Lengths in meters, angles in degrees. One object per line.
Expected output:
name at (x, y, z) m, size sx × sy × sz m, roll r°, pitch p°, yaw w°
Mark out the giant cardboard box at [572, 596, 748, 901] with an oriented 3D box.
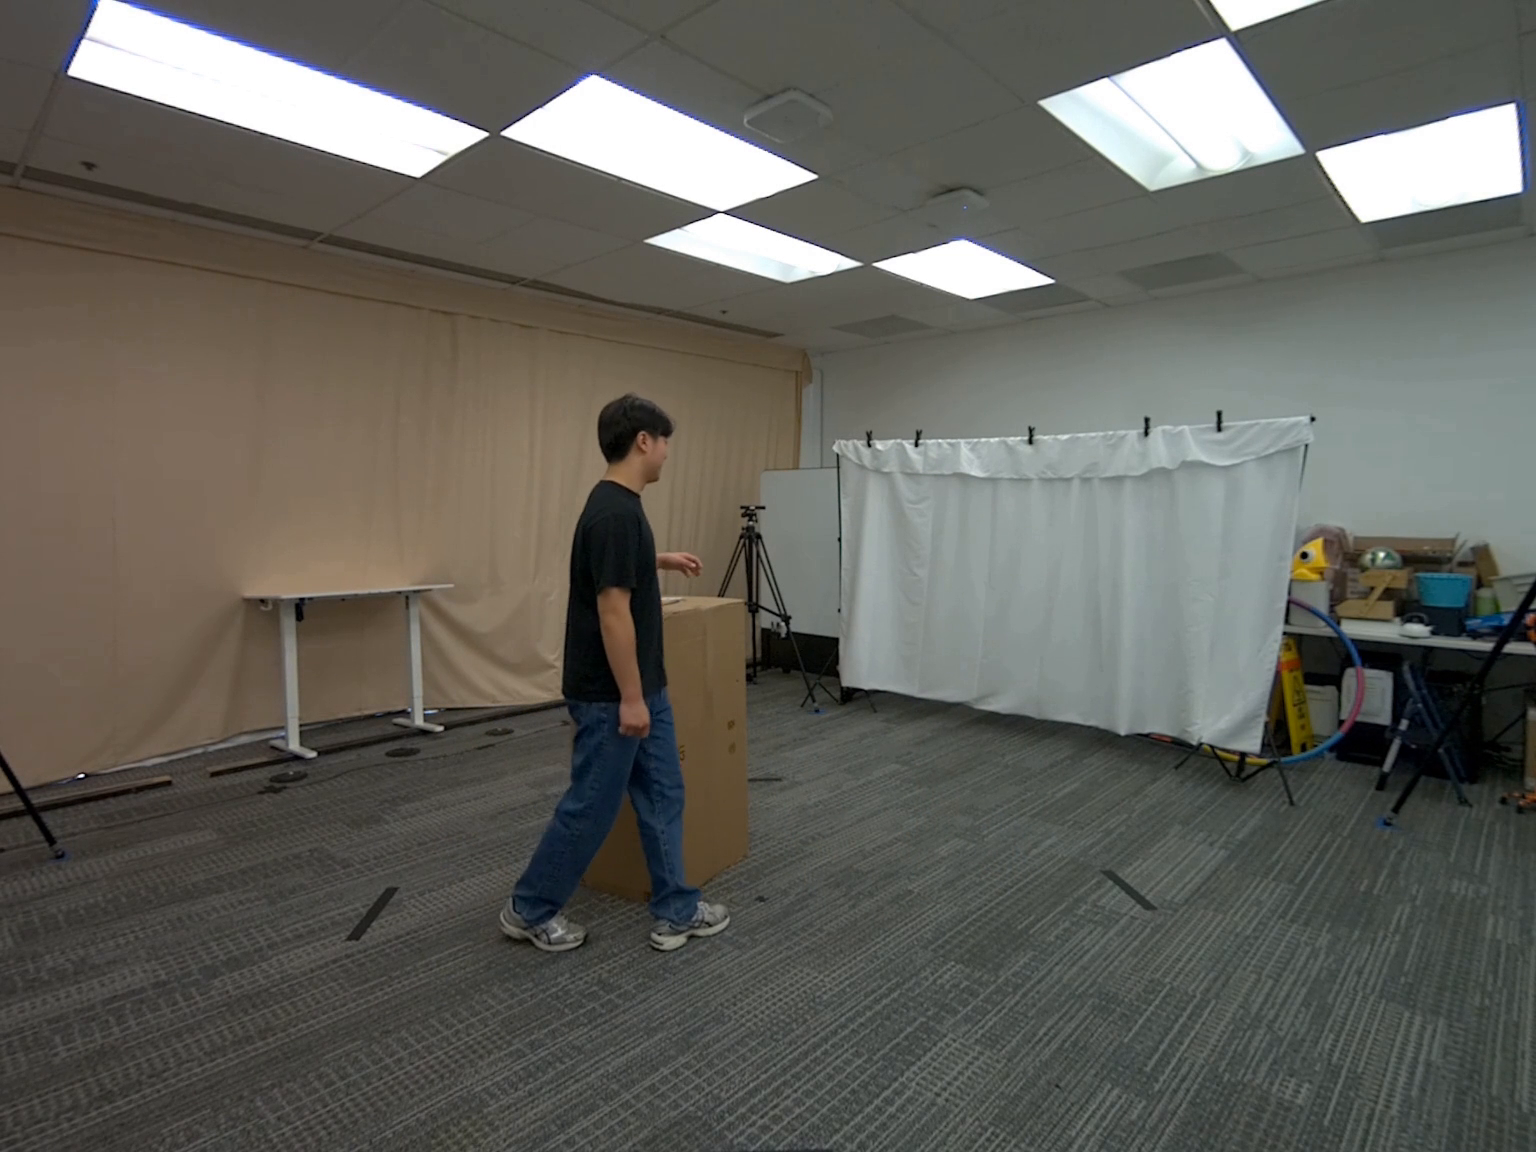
giant cardboard box at (-0.404, 0.615, 3.231) m, size 0.460 × 1.025 × 0.568 m, roll 1°, pitch 3°, yaw 32°
